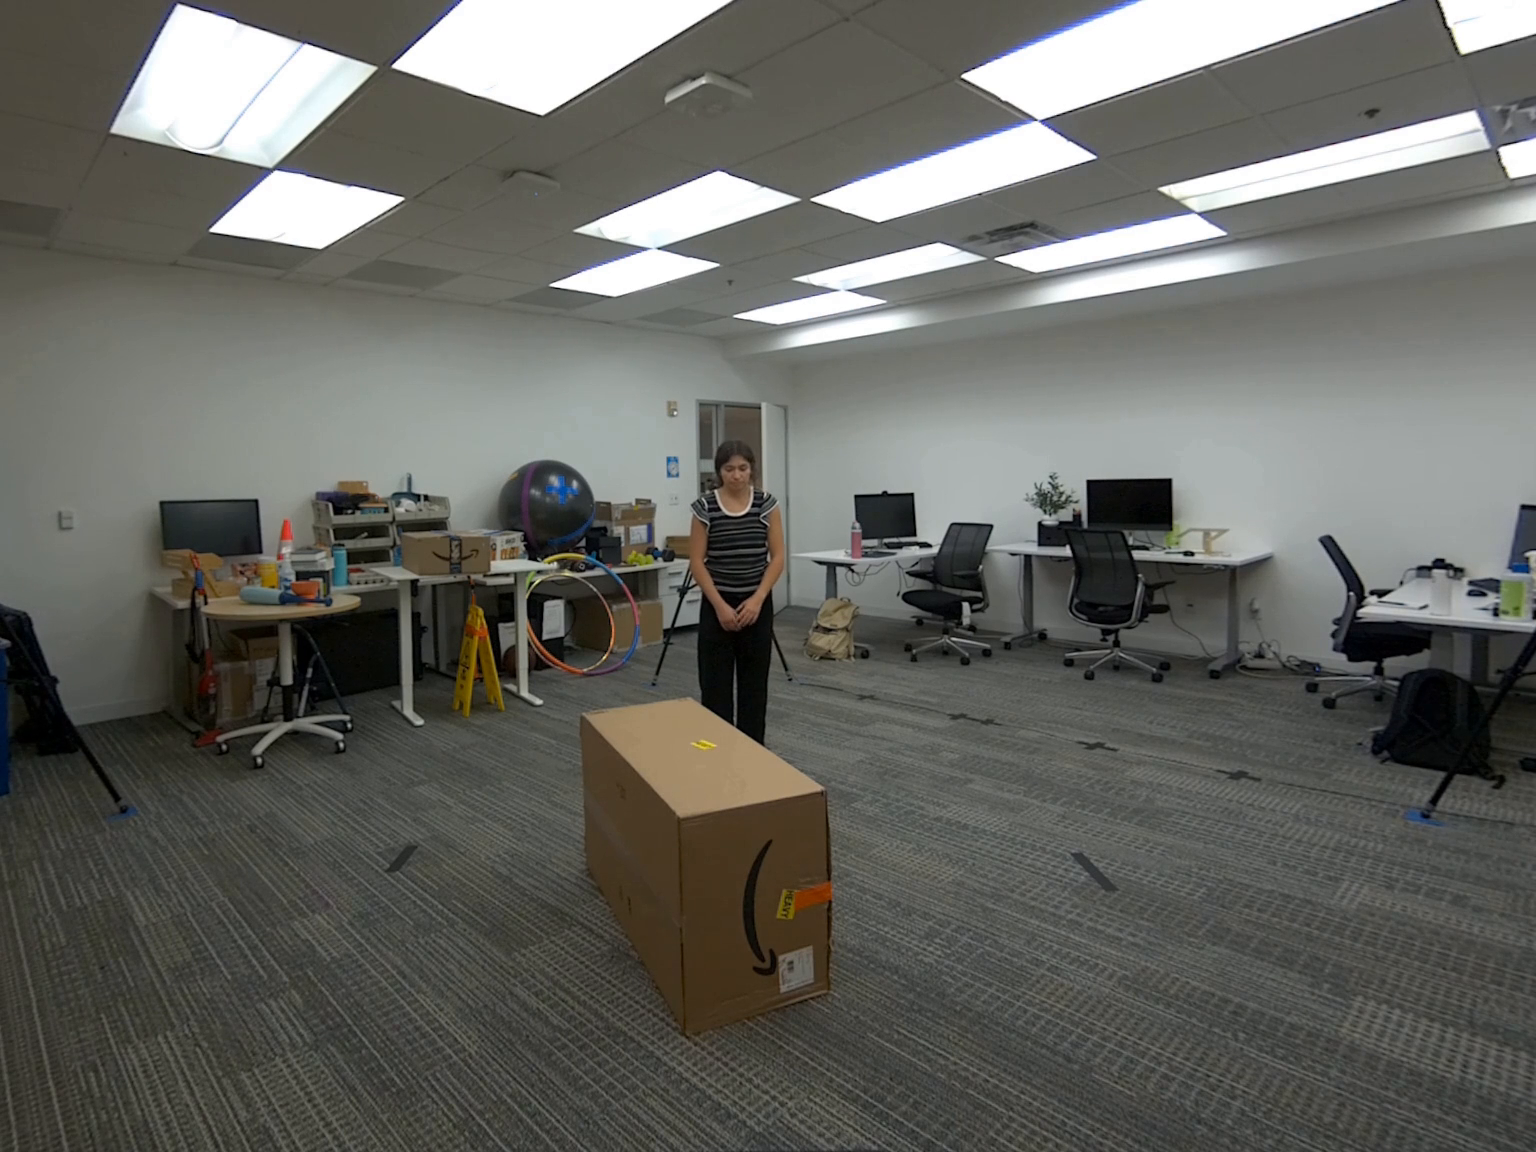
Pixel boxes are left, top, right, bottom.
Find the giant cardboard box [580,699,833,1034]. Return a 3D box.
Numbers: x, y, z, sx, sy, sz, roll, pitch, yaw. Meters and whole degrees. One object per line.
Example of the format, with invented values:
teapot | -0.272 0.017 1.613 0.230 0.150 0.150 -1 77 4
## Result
giant cardboard box | -0.251 0.815 2.679 0.418 0.574 1.051 -4 7 -24
